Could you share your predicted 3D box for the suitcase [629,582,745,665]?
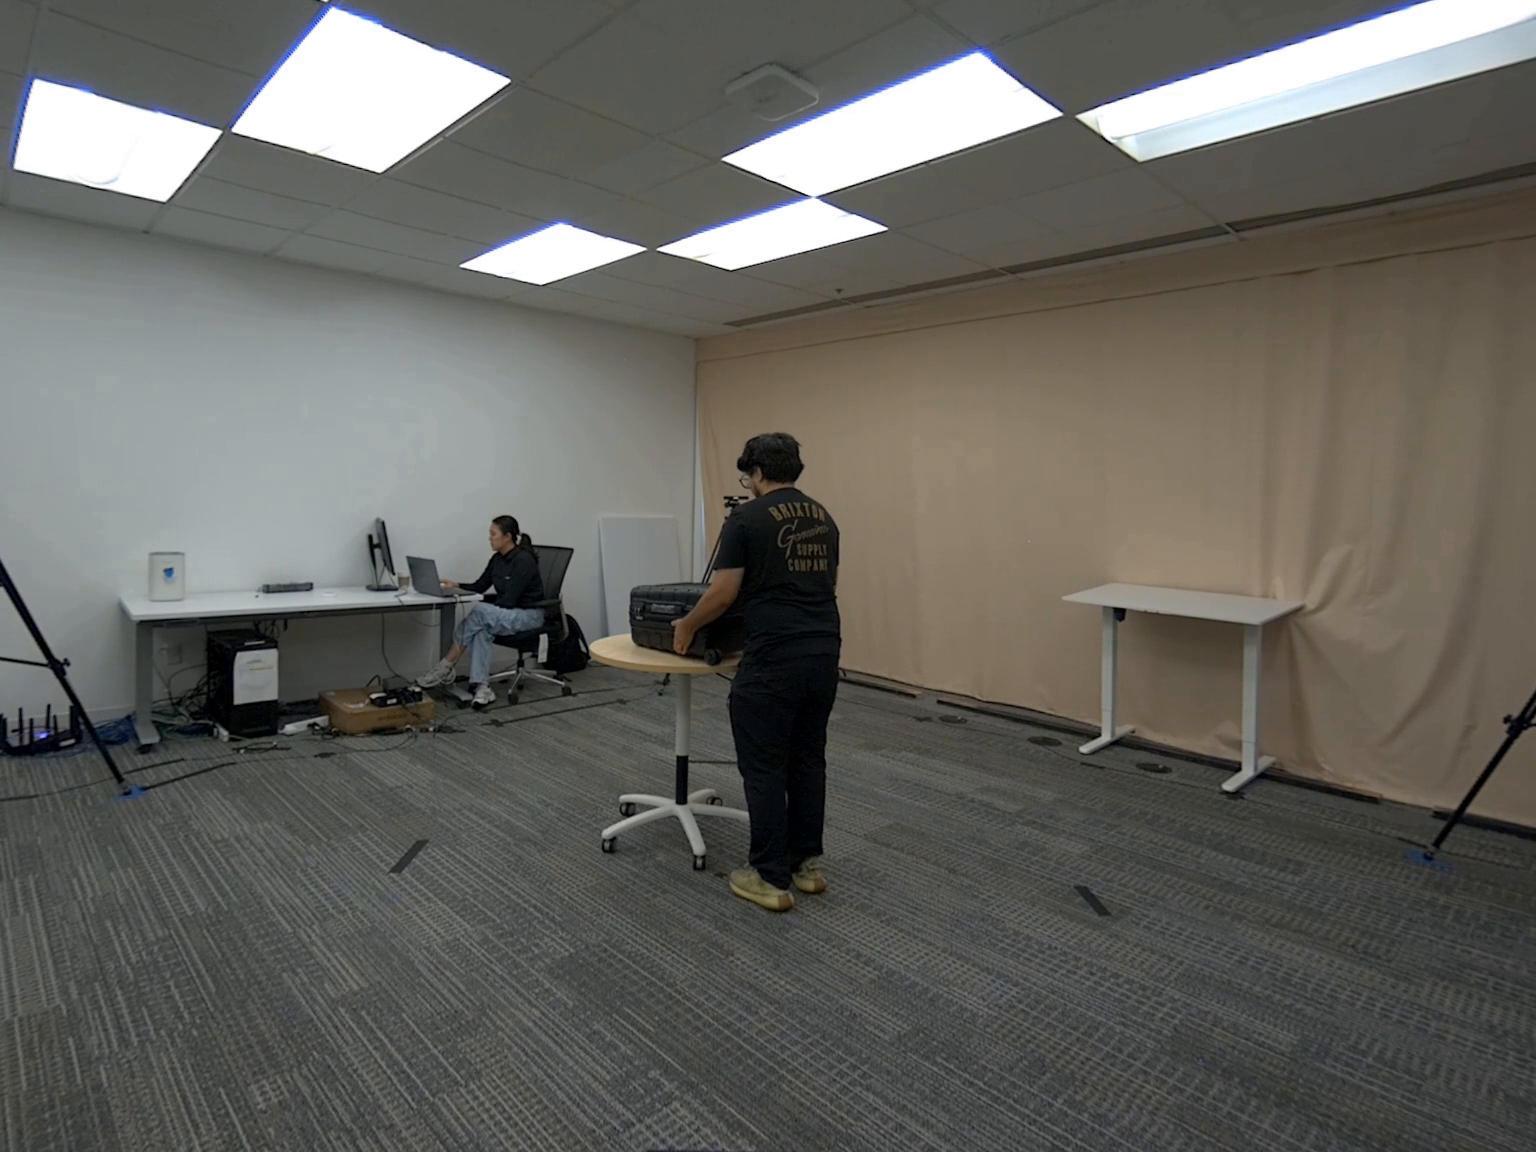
[{"bbox_3d":[-0.281,0.166,3.343,0.563,0.247,0.367,3,6,45],"label":"suitcase"}]
